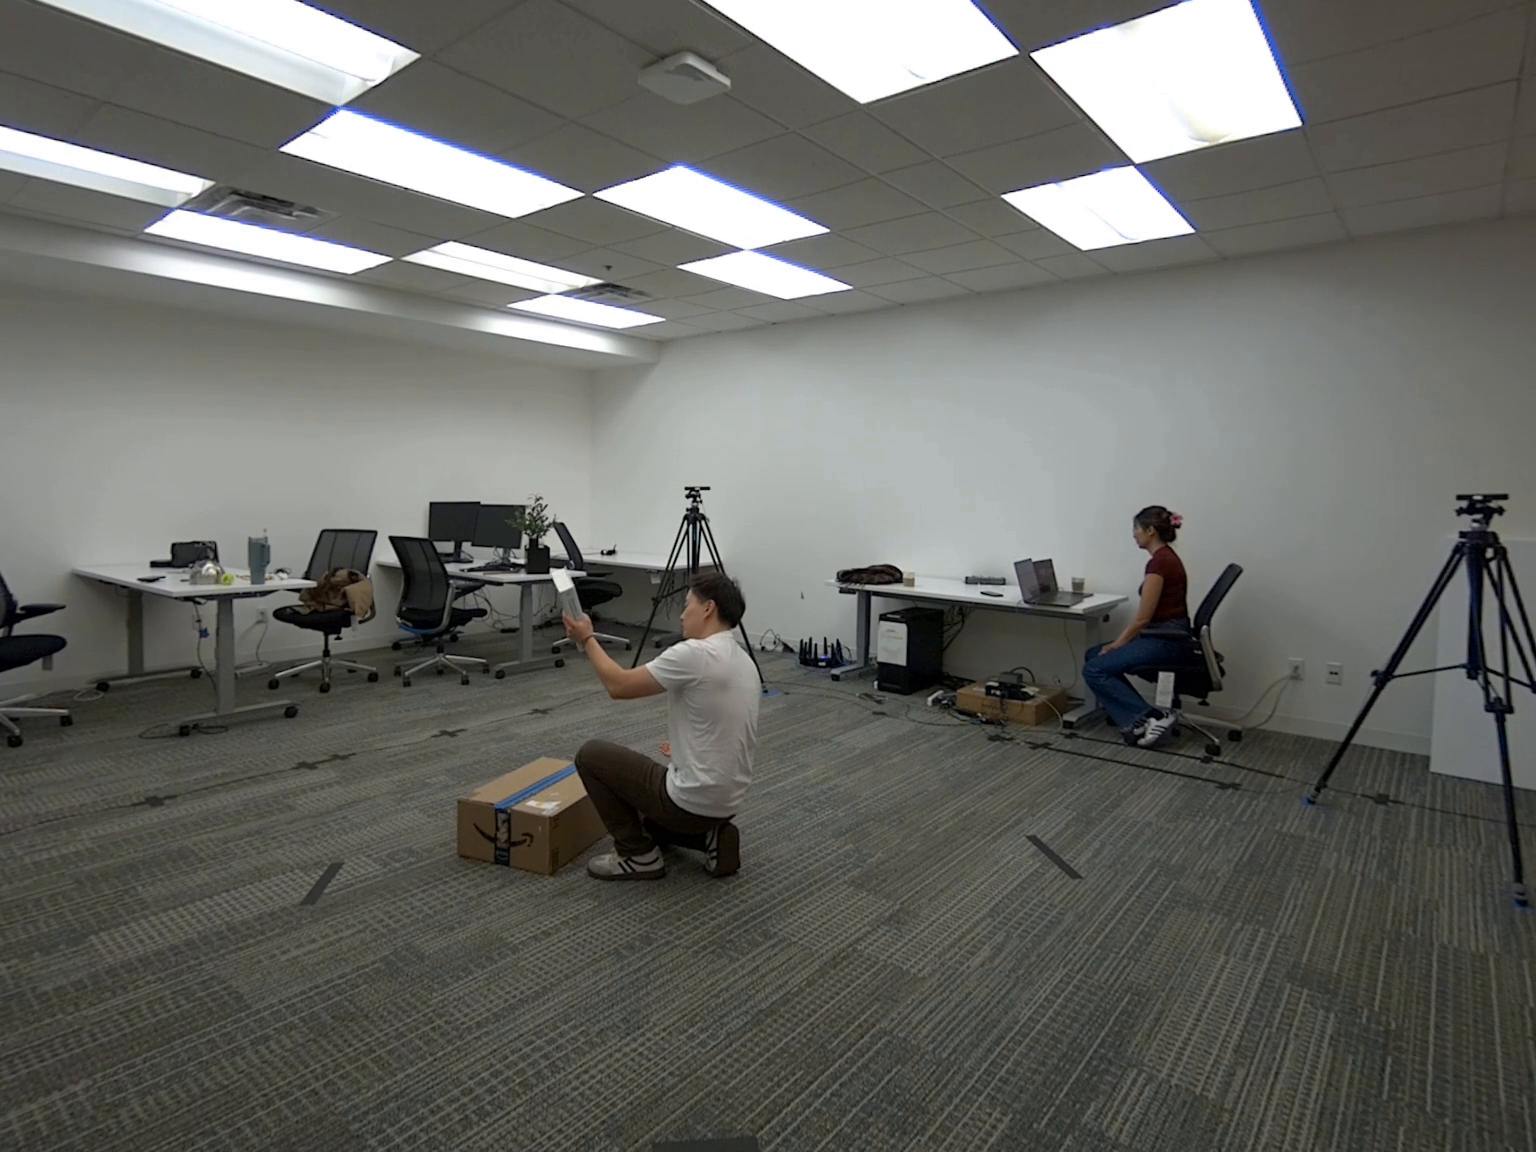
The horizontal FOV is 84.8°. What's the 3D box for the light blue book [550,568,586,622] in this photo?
[{"bbox_3d":[-0.737,0.124,3.150,0.058,0.254,0.199,-18,28,-17],"label":"light blue book"}]
